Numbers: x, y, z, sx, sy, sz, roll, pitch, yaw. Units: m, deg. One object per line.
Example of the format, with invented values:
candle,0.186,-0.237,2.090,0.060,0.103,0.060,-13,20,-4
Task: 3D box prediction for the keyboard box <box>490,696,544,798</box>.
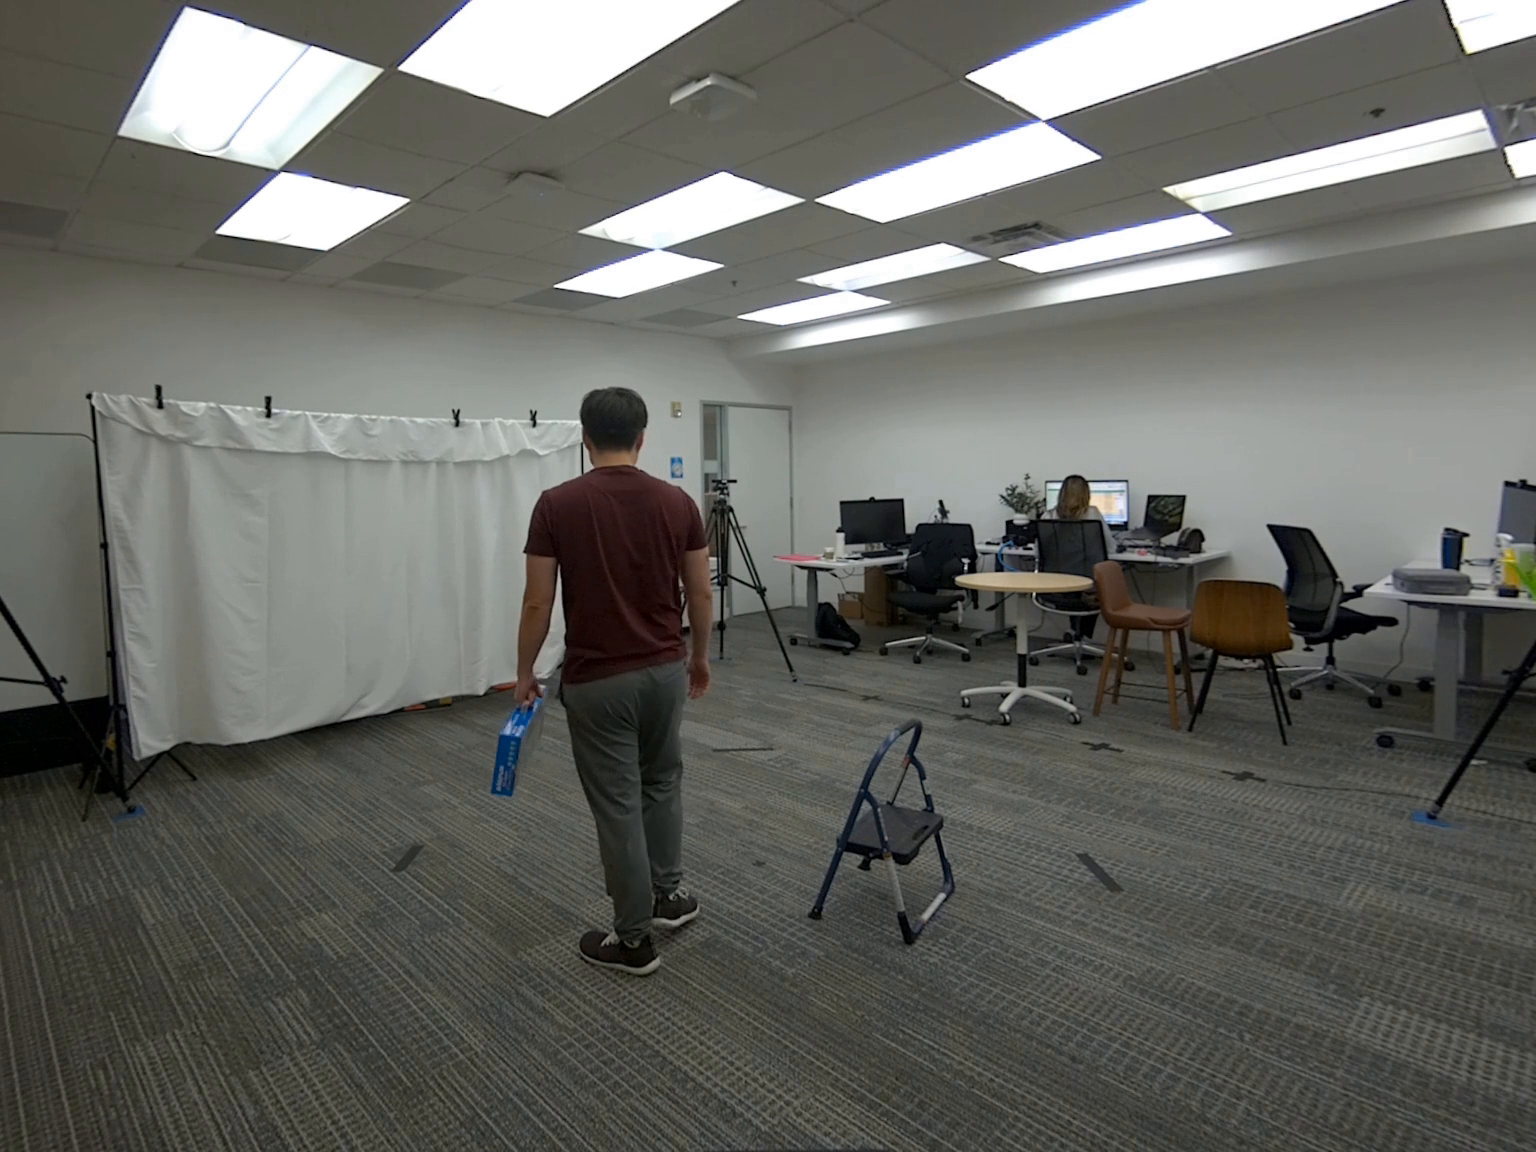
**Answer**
keyboard box,-0.704,0.464,2.510,0.059,0.175,0.442,9,10,-7
